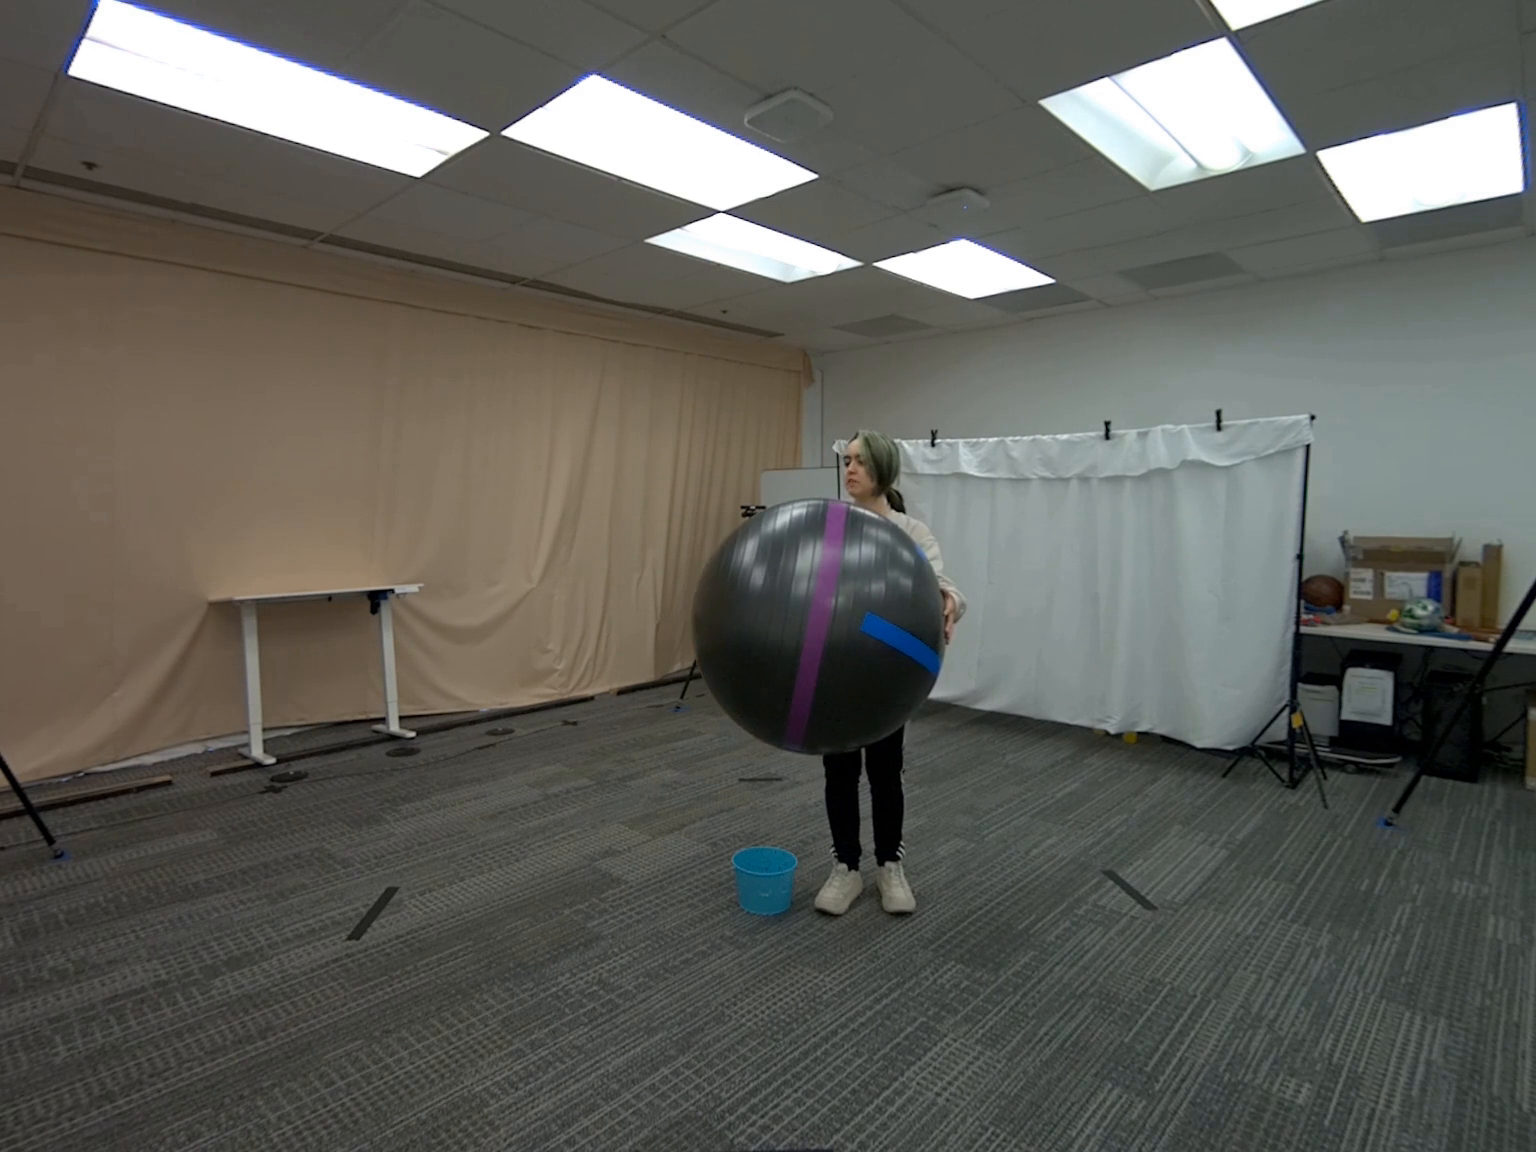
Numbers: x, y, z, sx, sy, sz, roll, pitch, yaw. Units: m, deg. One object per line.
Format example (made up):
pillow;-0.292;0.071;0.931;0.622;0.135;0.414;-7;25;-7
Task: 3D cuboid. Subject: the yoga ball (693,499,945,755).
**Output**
yoga ball;0.148;0.155;2.524;0.757;0.756;0.760;0;4;-2
